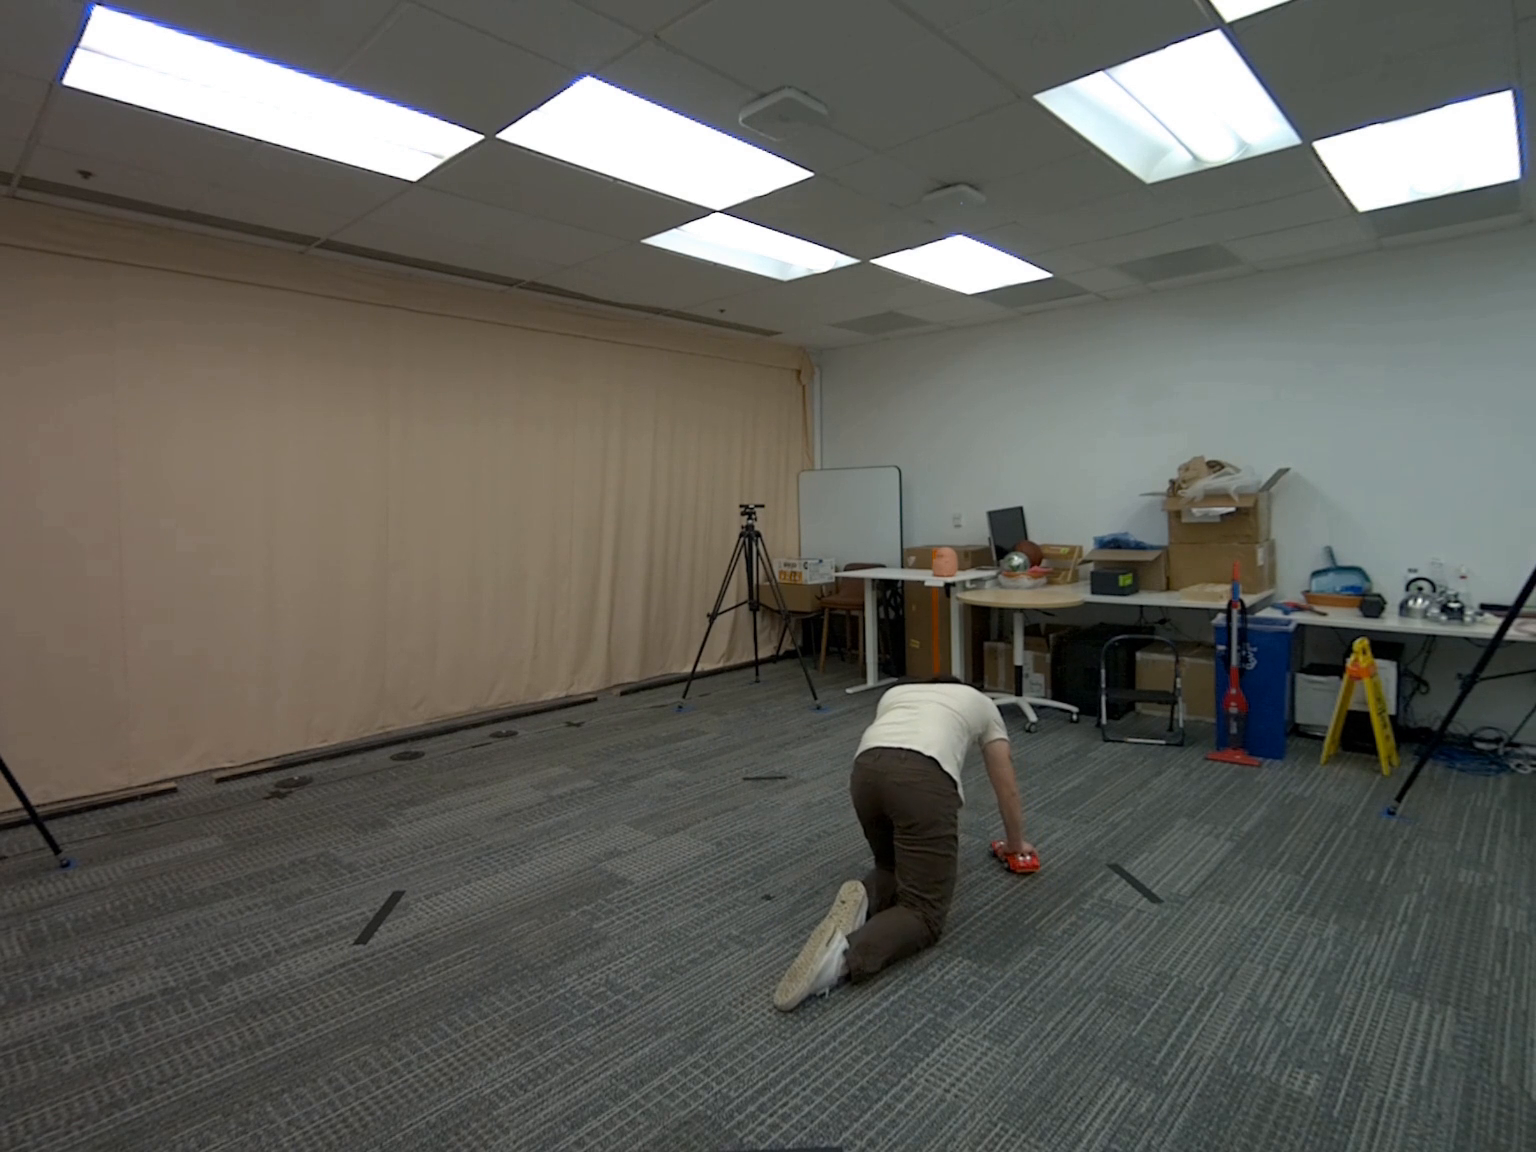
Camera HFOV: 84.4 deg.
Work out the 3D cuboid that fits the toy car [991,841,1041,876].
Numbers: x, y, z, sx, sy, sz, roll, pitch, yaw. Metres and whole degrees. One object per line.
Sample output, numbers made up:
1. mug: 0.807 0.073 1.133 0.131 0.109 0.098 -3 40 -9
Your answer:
1. toy car: 0.948 1.074 3.216 0.130 0.083 0.254 -1 -5 -5
